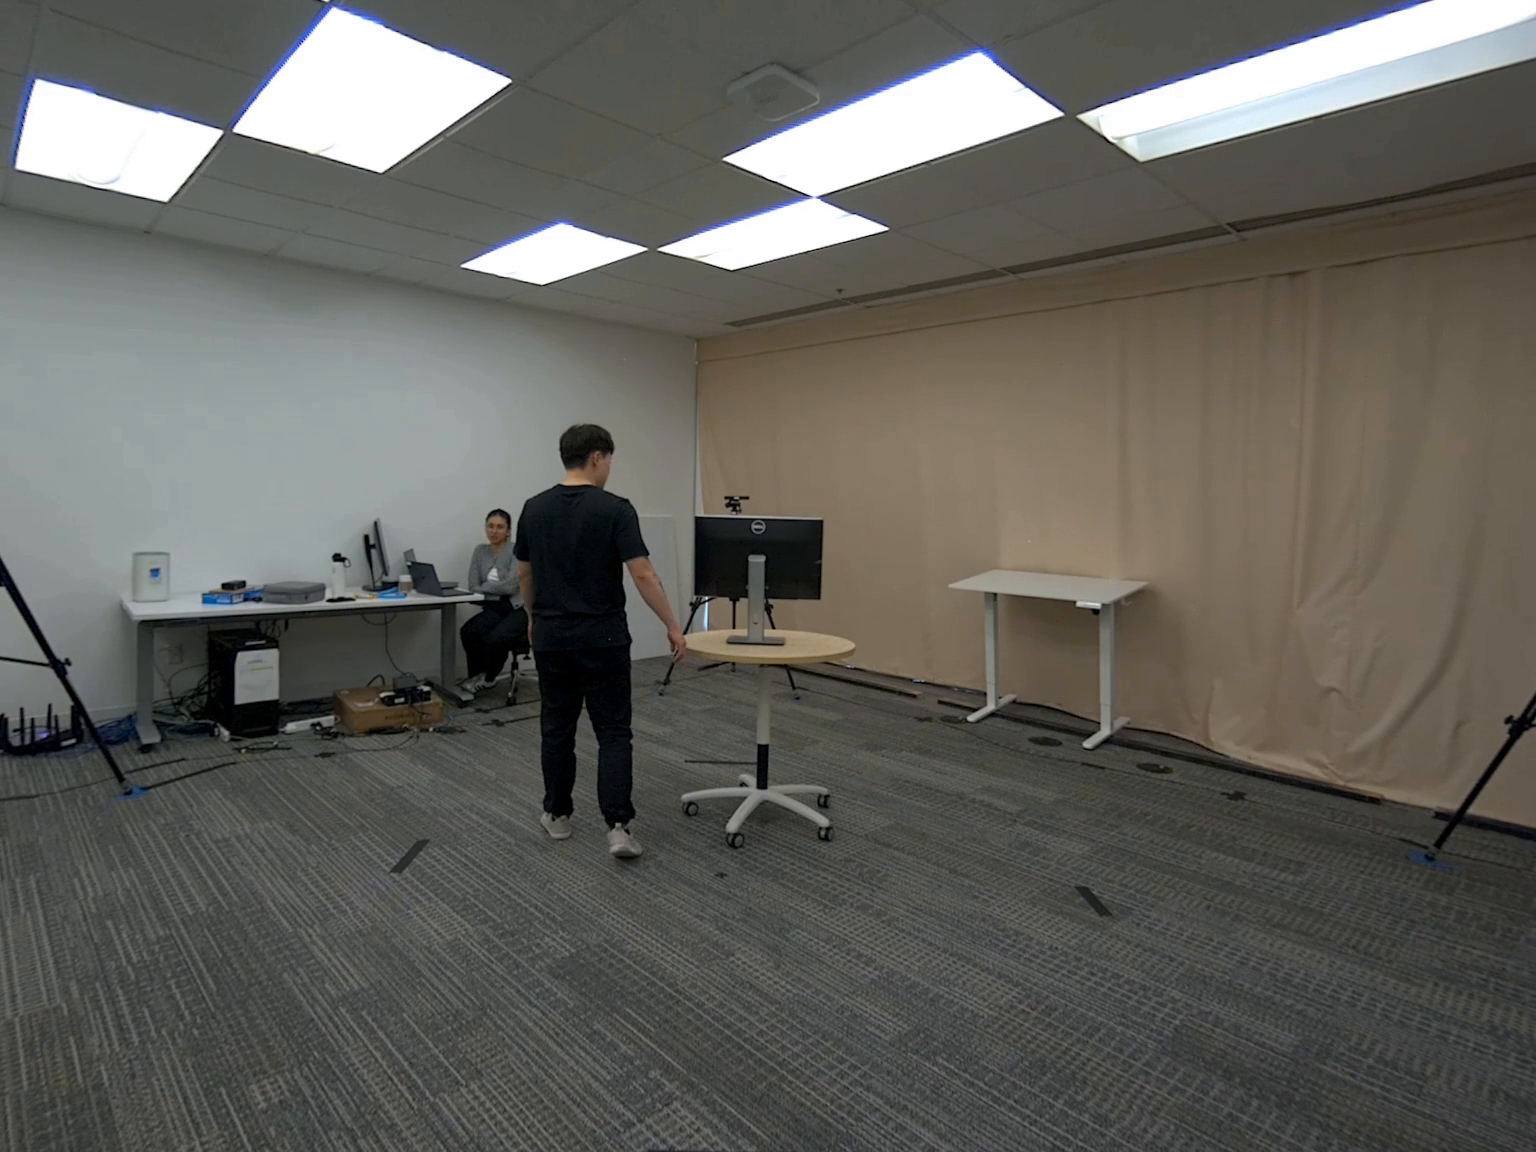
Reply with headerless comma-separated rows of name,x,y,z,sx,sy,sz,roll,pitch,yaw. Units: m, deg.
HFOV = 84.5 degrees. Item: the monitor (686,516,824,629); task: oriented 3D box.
monitor,-0.054,0.016,3.612,0.540,0.522,0.187,2,1,2
